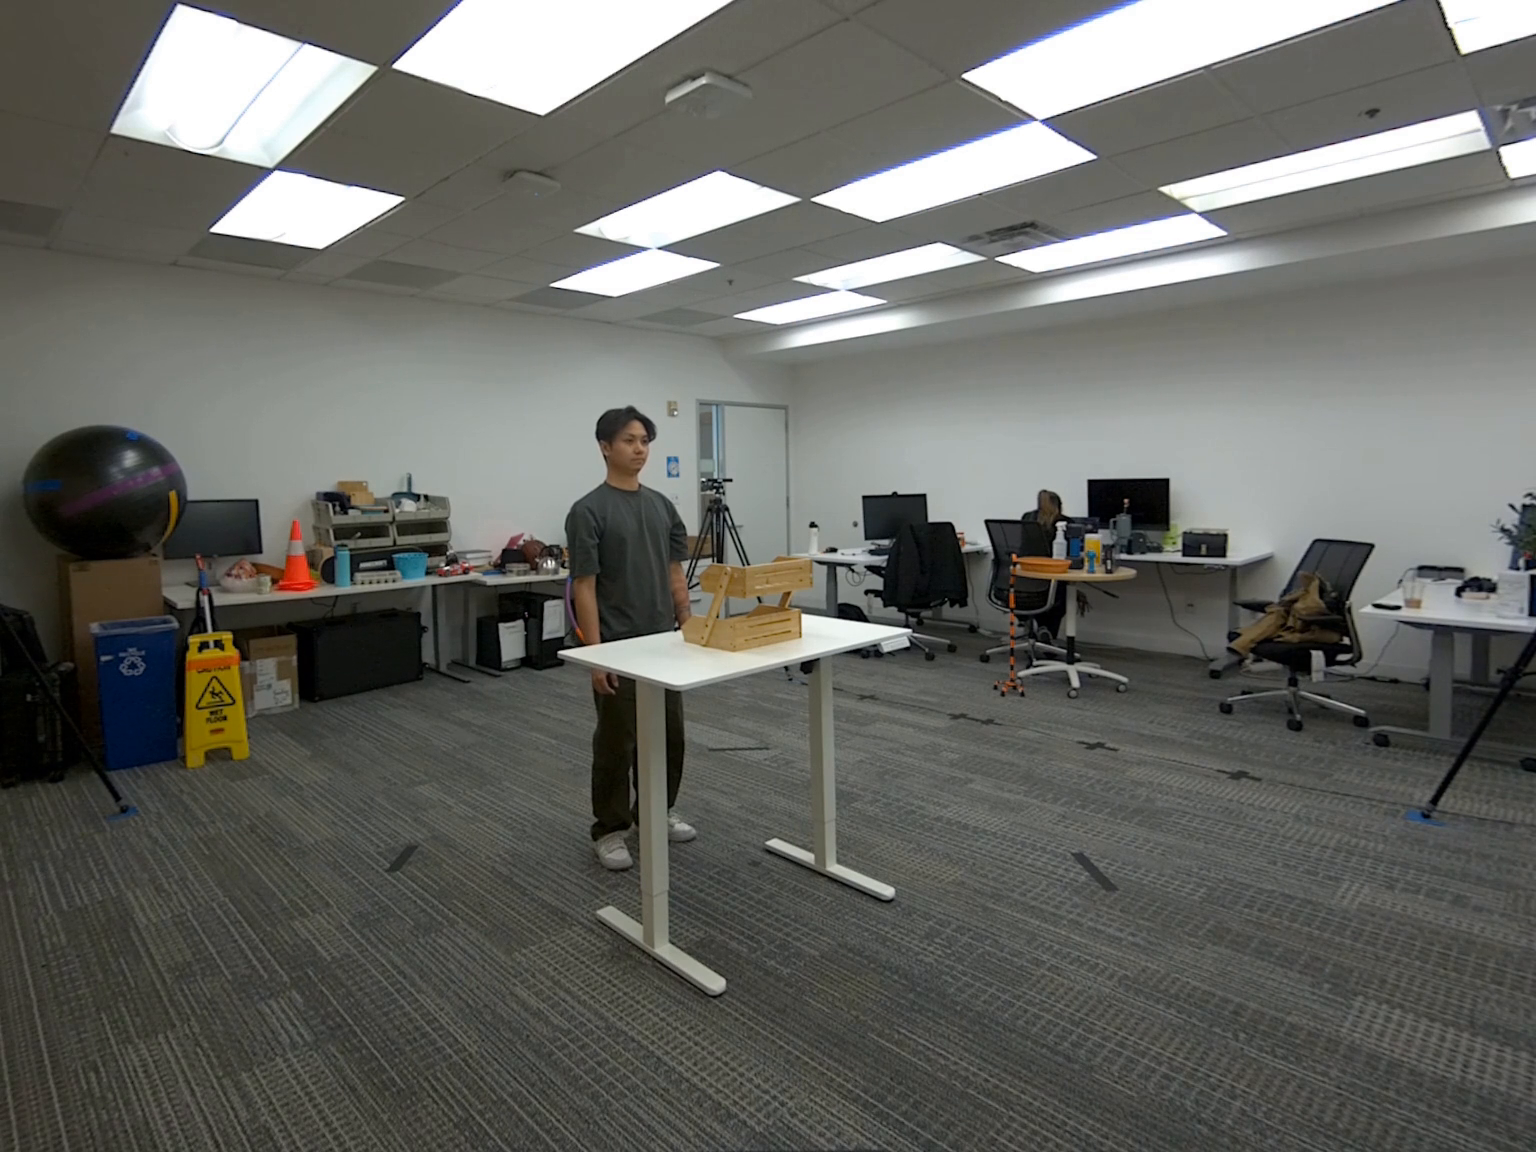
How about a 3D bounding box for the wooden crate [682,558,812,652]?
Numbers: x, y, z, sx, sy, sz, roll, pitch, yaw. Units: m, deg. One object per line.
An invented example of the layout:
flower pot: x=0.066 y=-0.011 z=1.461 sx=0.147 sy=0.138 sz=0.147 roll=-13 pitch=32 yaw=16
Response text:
wooden crate: x=-0.068 y=0.076 z=2.721 sx=0.316 sy=0.272 sz=0.311 roll=-7 pitch=8 yaw=-43
